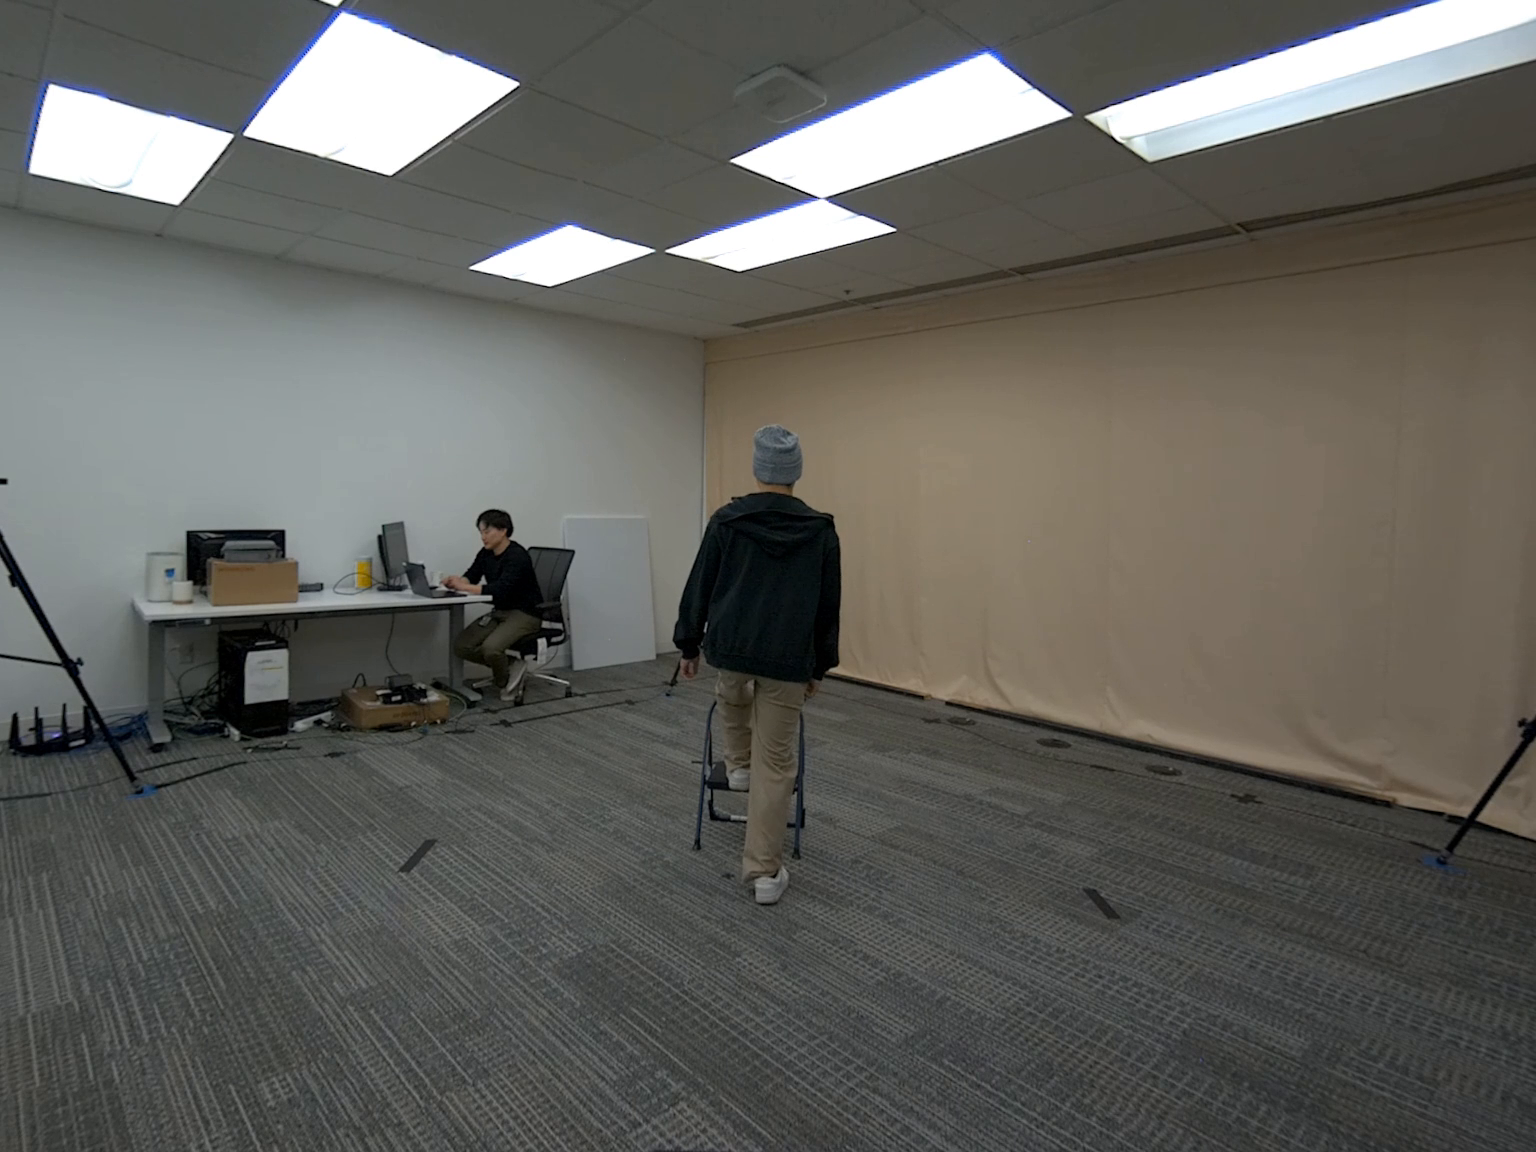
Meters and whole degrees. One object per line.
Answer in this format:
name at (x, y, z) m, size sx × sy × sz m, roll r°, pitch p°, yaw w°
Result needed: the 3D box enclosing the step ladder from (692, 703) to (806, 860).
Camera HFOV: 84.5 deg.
step ladder at (-0.067, 0.782, 3.453) m, size 0.433 × 0.604 × 0.348 m, roll 2°, pitch 4°, yaw 8°
